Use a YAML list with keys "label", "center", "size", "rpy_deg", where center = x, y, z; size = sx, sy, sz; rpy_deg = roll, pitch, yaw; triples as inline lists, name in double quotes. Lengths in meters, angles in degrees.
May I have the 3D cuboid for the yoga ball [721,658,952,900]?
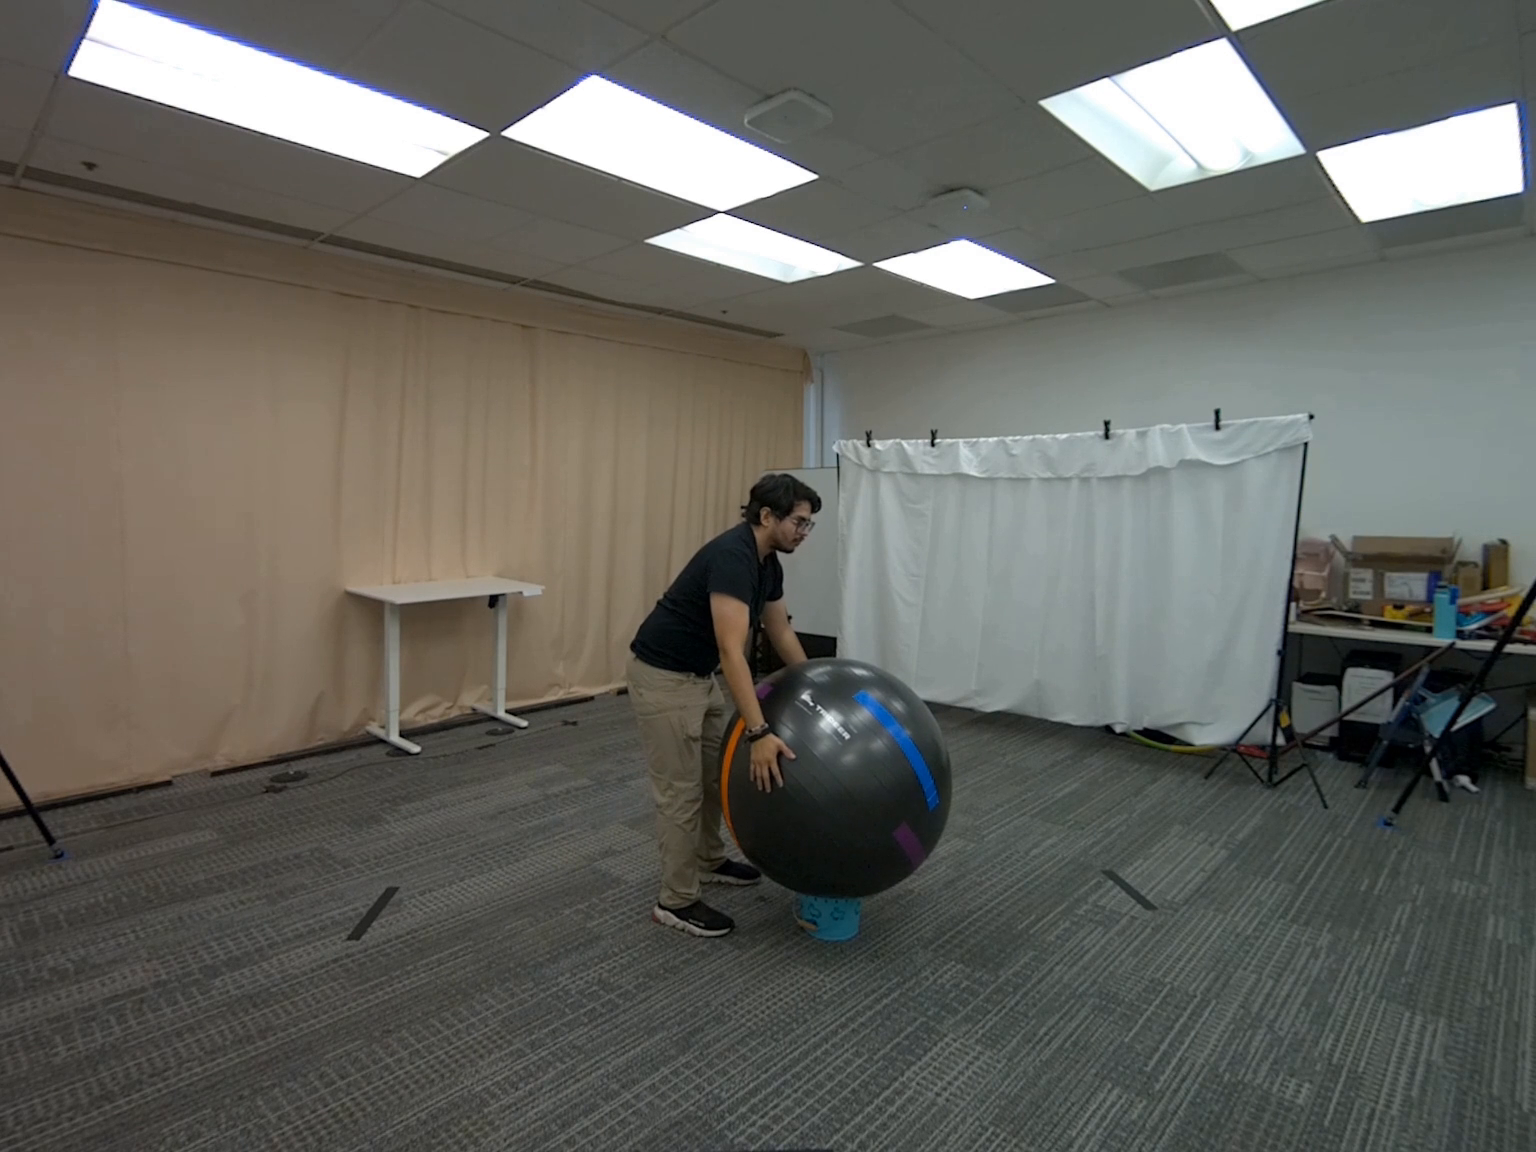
- label: "yoga ball"
  center: [0.226, 0.656, 2.753]
  size: [0.757, 0.756, 0.761]
  rpy_deg: [0, 4, -2]
